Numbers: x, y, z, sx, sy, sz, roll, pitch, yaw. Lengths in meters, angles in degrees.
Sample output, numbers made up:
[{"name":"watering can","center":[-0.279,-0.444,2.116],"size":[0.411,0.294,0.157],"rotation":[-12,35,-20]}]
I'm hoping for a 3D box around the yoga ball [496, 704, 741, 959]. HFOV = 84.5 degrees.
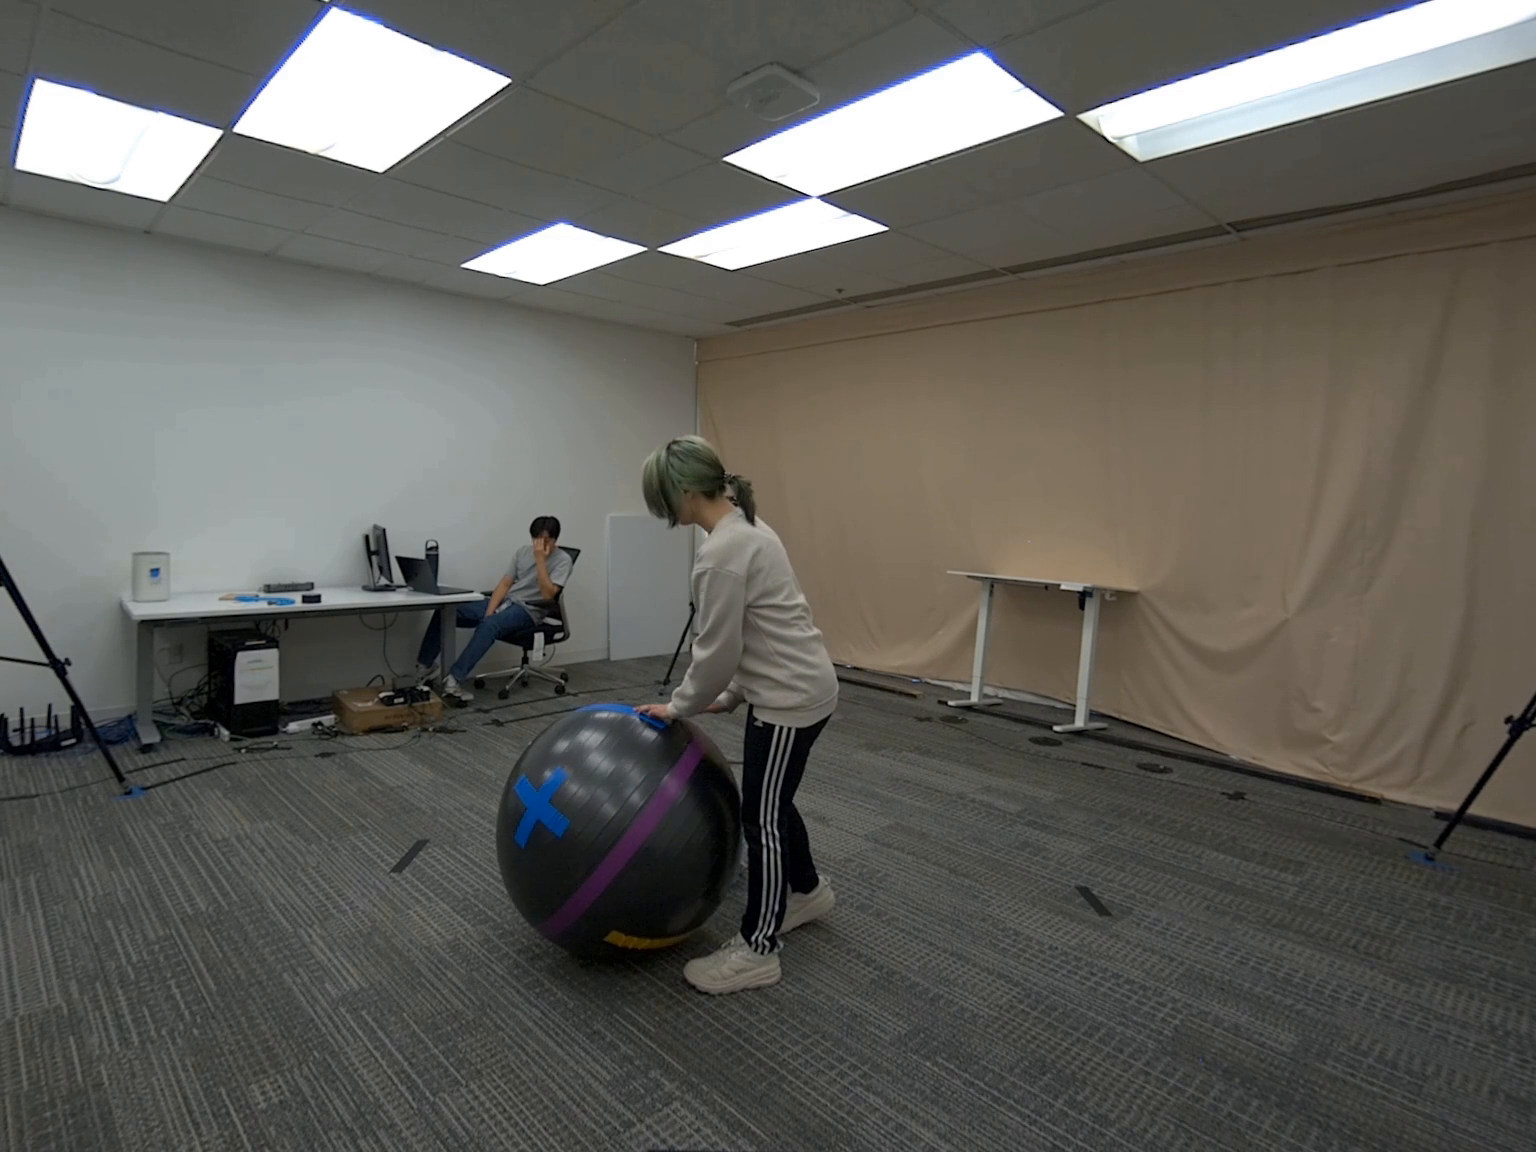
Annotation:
[{"name":"yoga ball","center":[-0.466,0.780,2.604],"size":[0.757,0.756,0.761],"rotation":[1,4,-1]}]
